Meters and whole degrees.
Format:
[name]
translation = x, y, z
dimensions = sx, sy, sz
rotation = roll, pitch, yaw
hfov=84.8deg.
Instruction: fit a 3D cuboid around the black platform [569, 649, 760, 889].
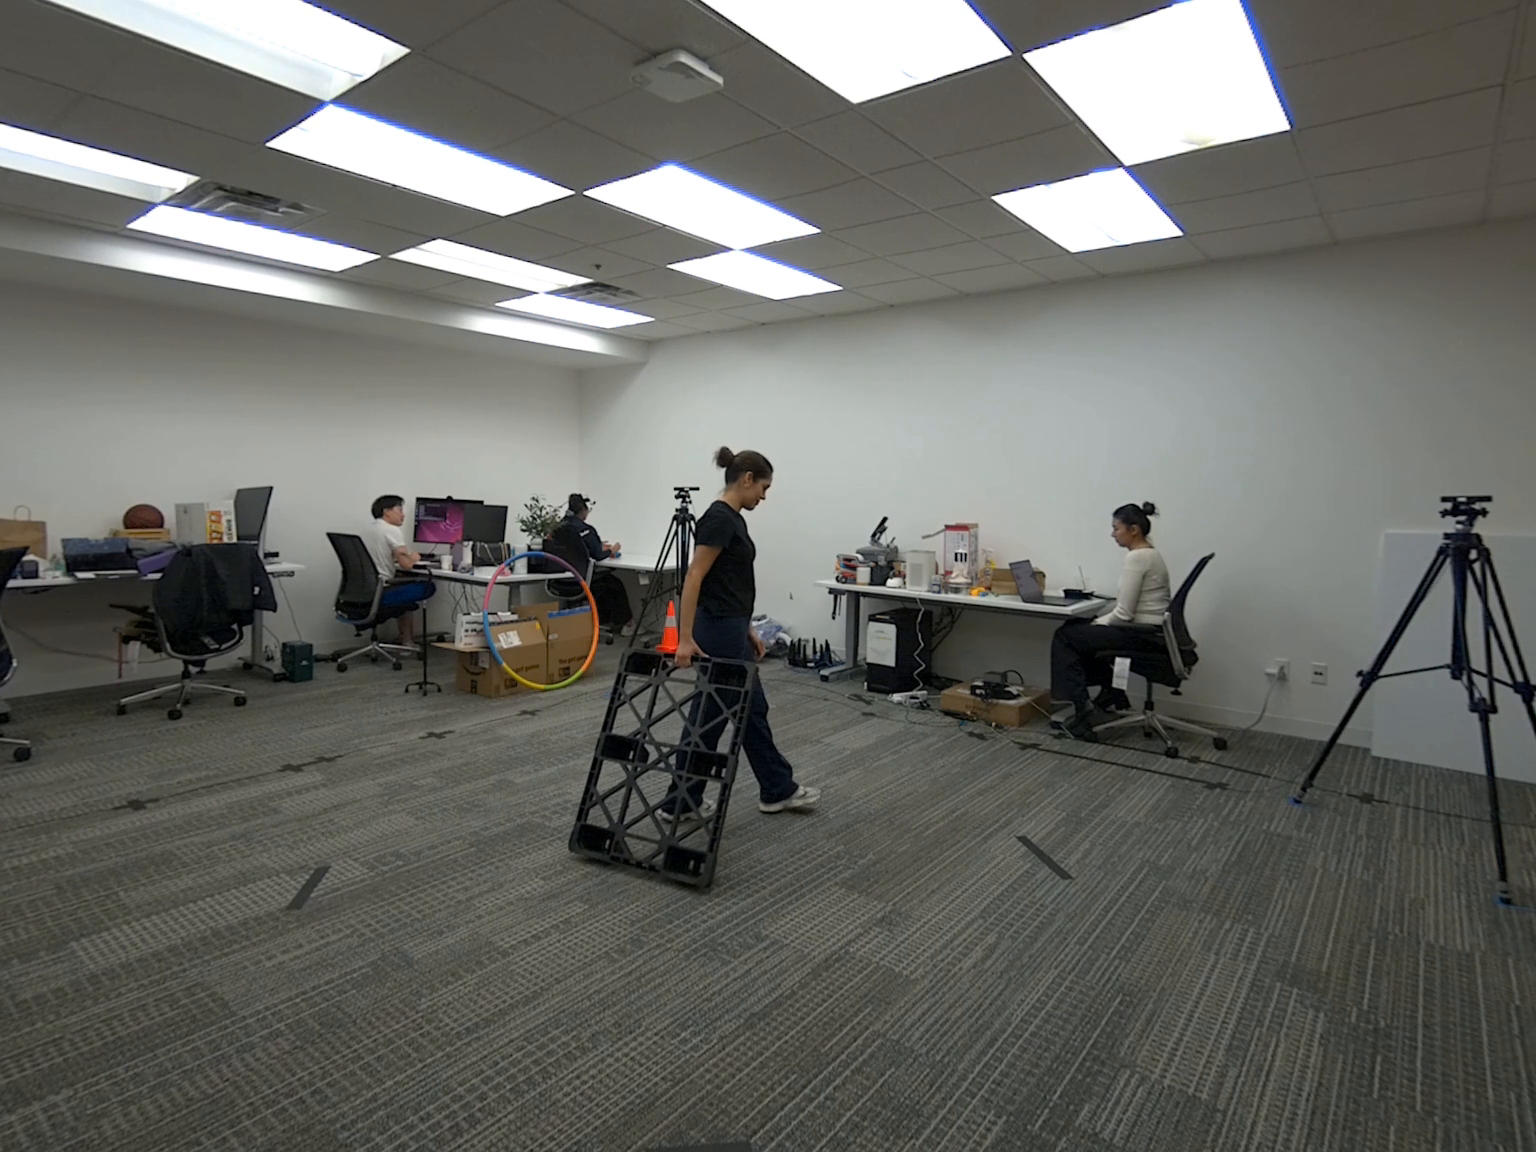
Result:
[black platform]
translation = -0.354, 0.690, 3.241
dimensions = 0.622, 0.816, 0.137
rotation = 2, -23, 28
